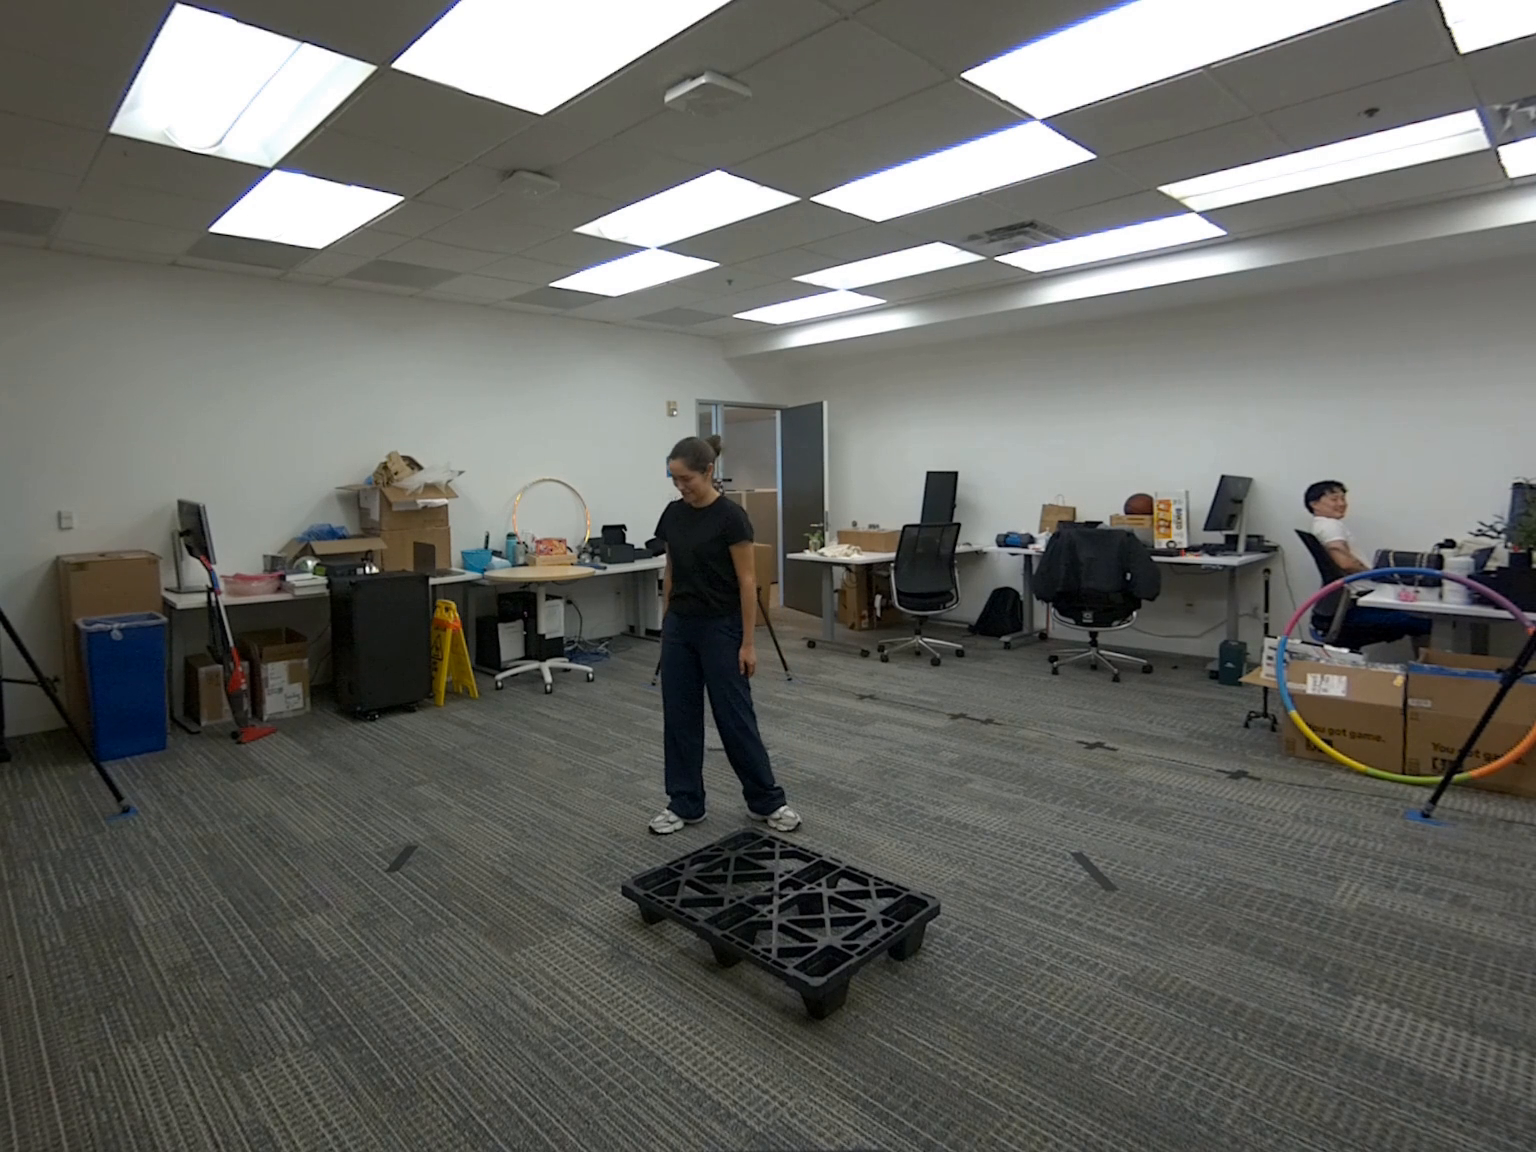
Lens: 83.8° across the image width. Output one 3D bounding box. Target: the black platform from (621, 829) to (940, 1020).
[{"bbox_3d":[0.031,1.032,2.635,0.831,0.143,0.589,6,9,43],"label":"black platform"}]
